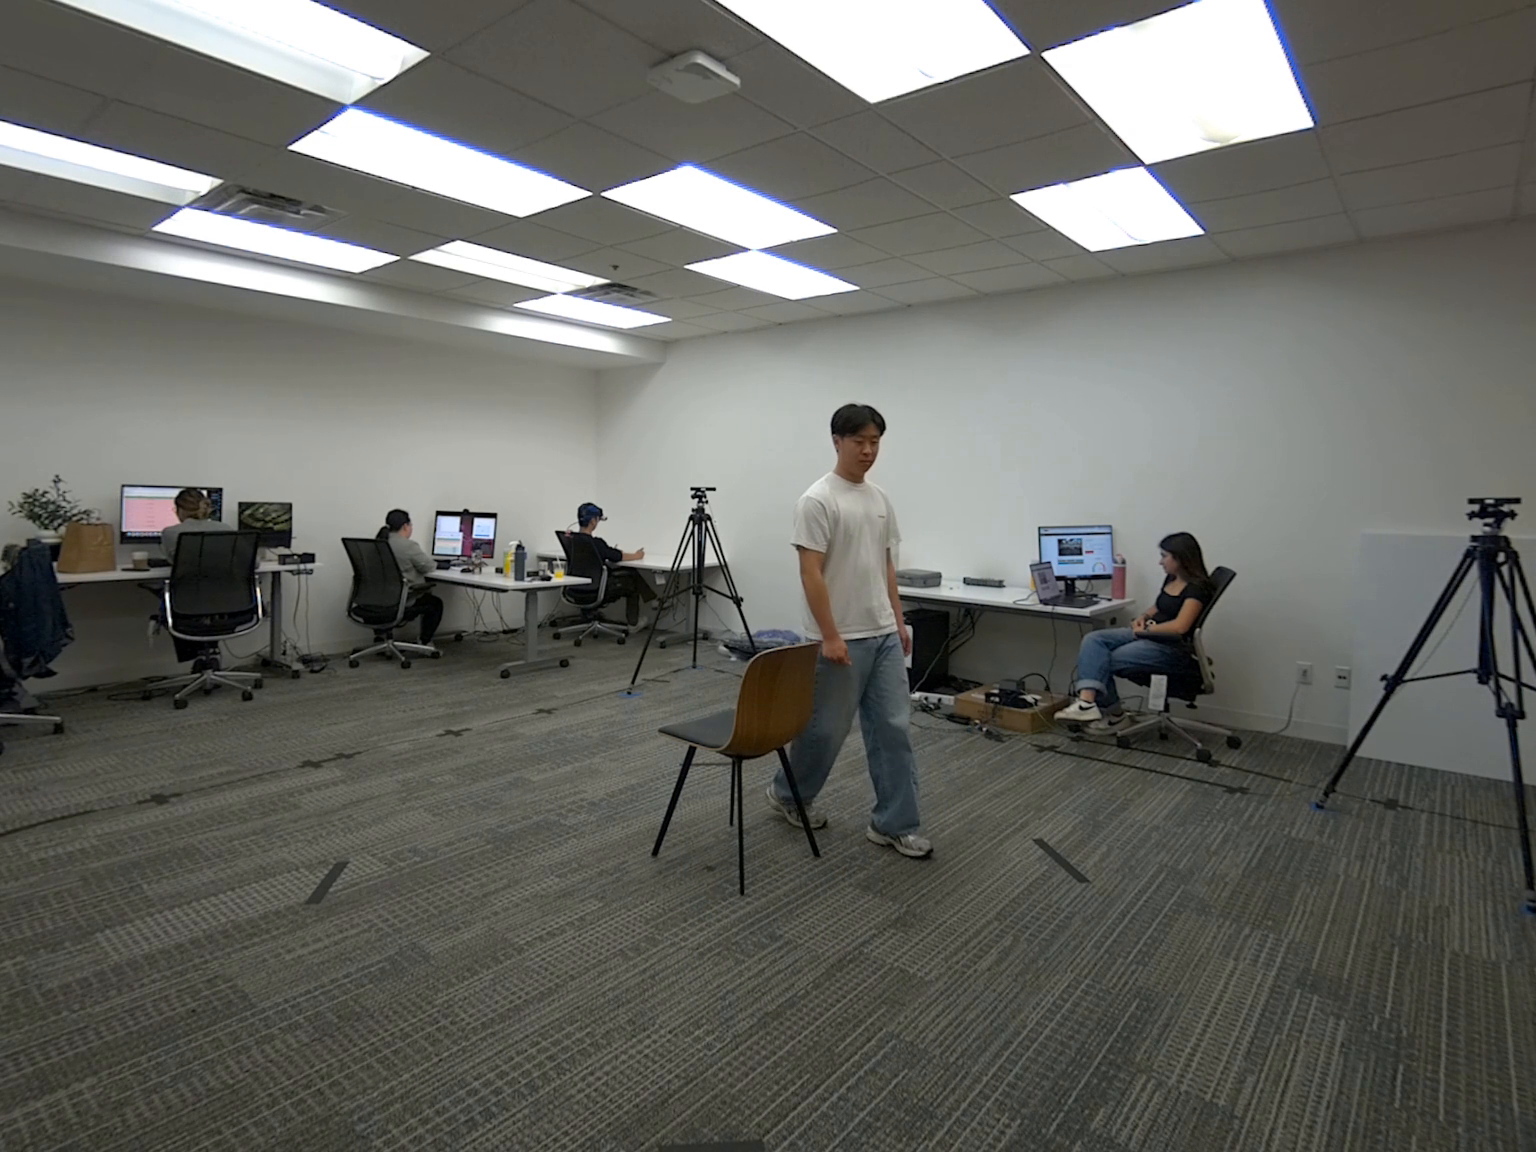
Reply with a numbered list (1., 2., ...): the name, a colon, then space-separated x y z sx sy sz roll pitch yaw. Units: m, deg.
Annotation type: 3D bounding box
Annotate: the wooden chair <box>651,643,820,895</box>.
1. wooden chair: -0.129 0.635 3.188 0.542 0.873 0.463 9 7 40
